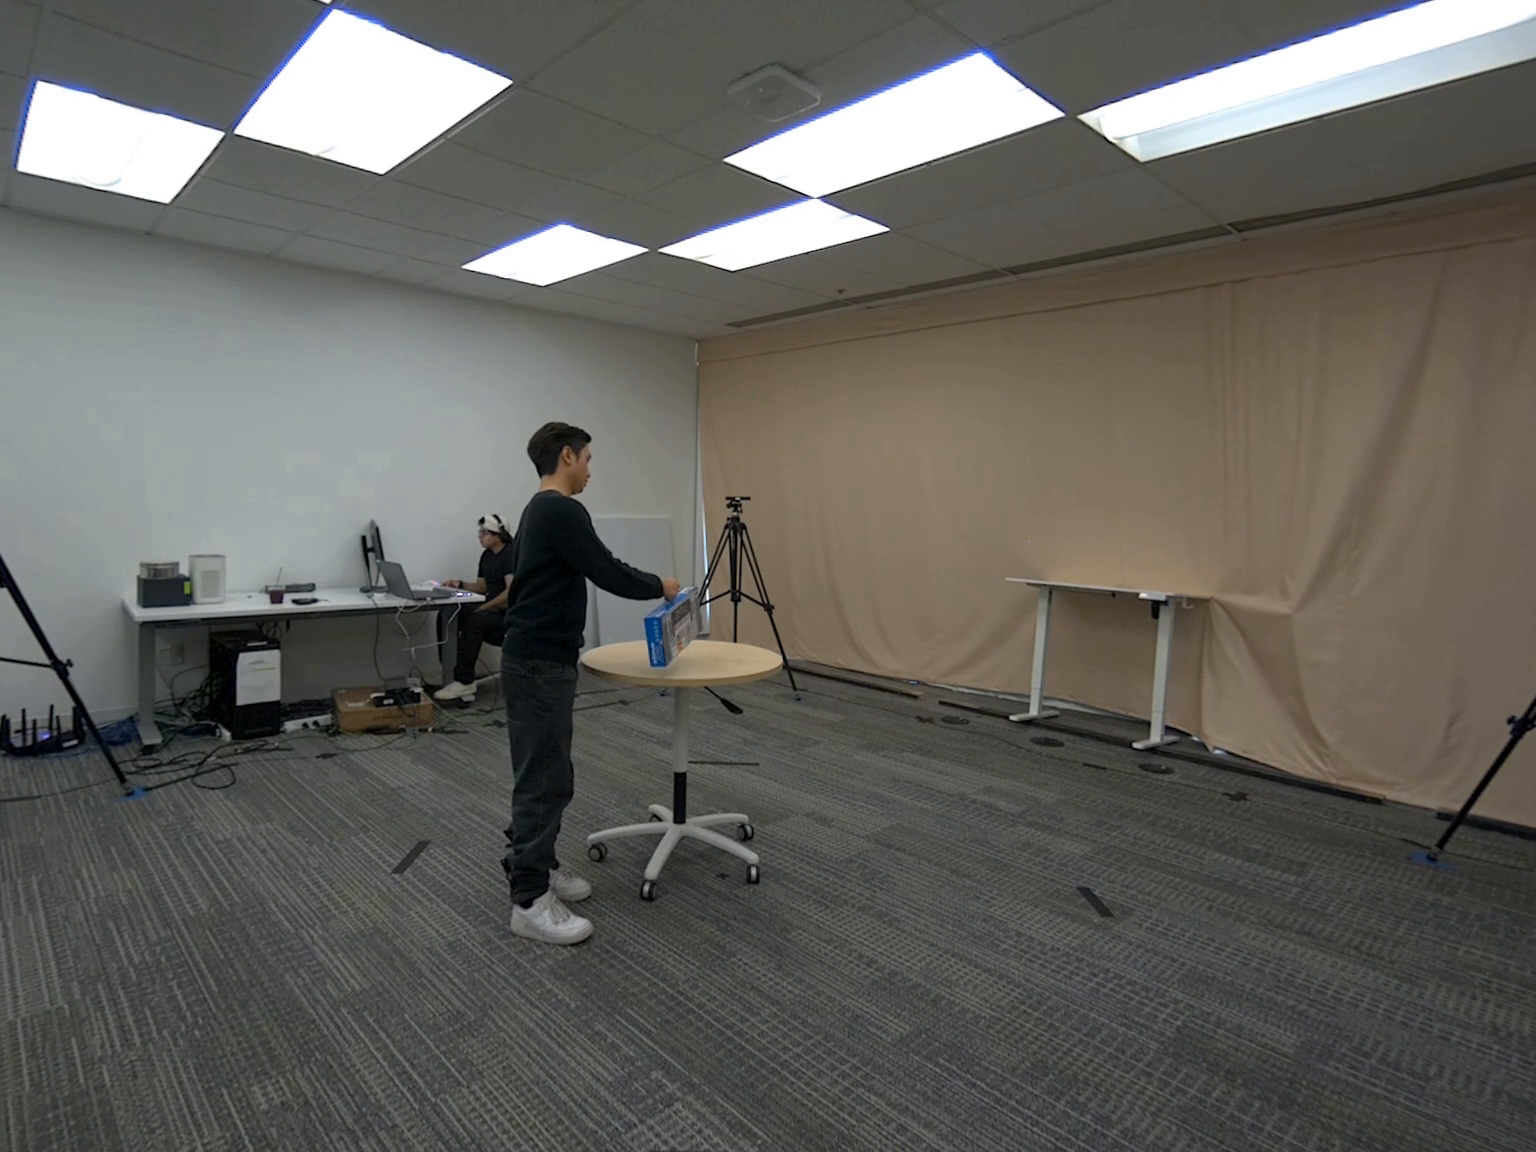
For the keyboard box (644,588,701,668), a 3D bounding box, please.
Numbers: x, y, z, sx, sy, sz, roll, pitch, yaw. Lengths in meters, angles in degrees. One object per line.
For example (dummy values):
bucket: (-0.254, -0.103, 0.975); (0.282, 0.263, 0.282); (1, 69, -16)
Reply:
keyboard box: (-0.340, 0.175, 2.997); (0.060, 0.174, 0.436); (-2, 12, 12)
